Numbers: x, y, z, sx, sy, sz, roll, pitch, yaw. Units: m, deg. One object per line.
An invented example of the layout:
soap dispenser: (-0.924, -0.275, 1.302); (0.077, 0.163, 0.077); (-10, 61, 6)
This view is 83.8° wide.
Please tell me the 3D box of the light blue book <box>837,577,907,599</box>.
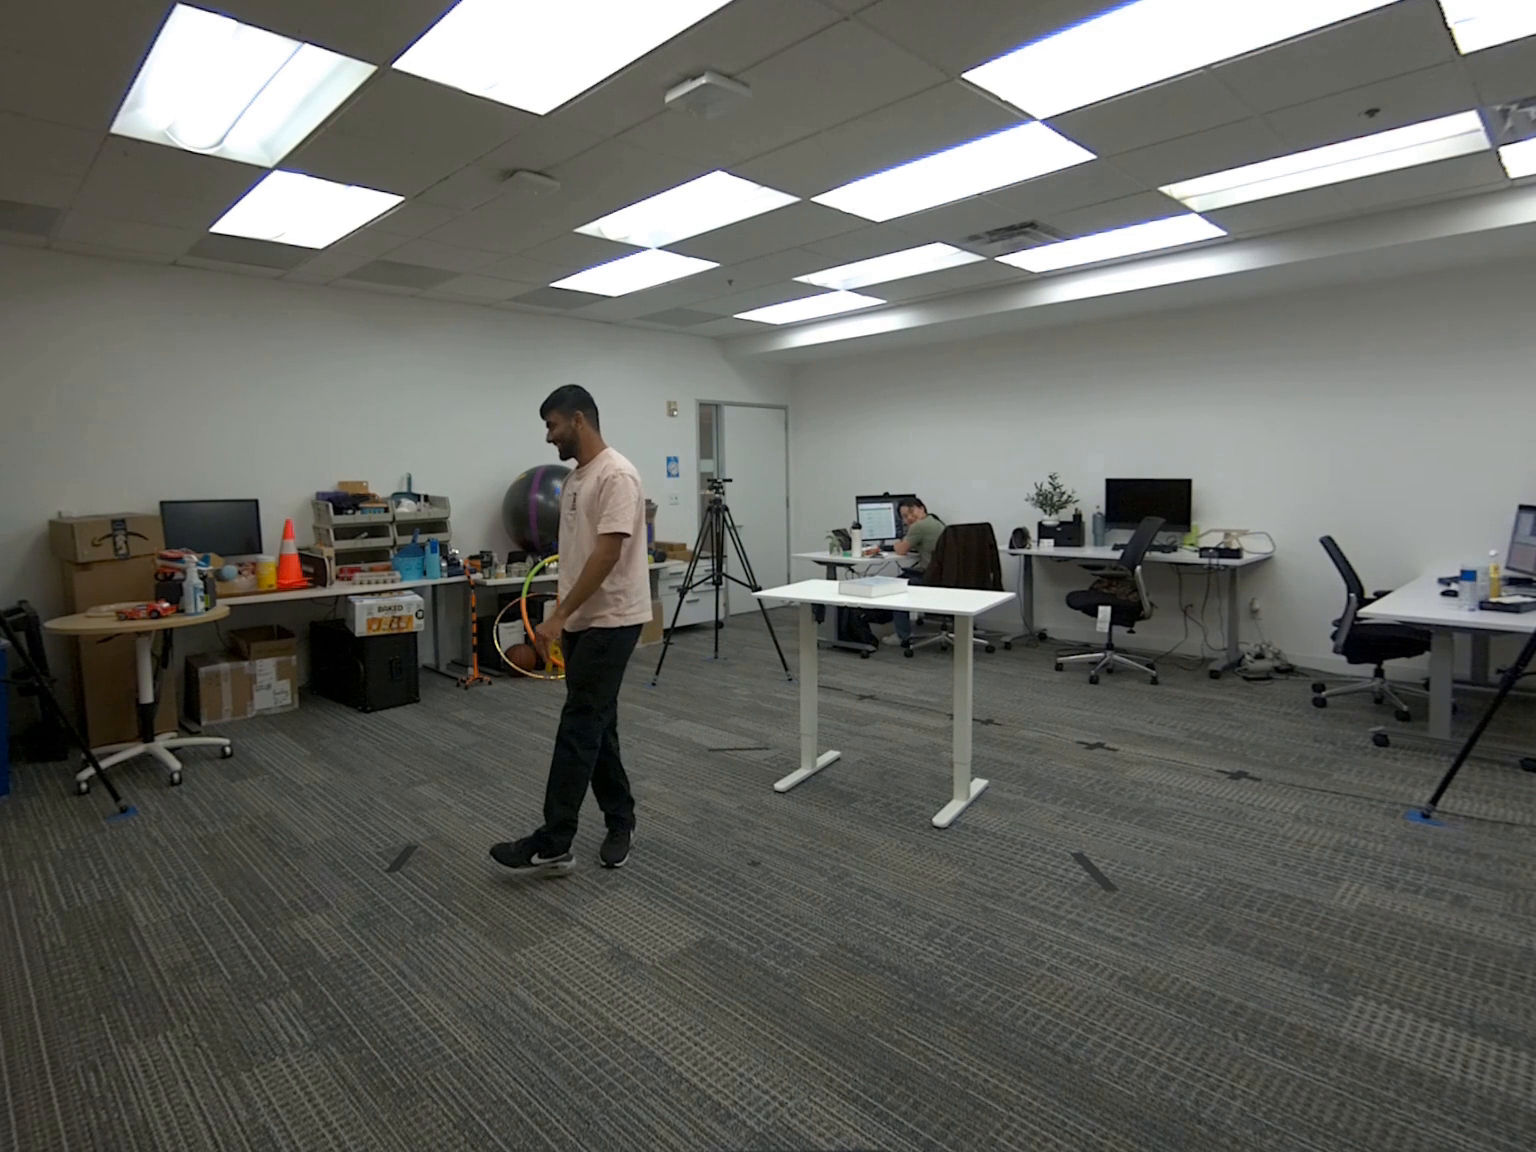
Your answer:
light blue book: (0.479, 0.047, 3.794); (0.254, 0.059, 0.197); (-7, 9, -44)
